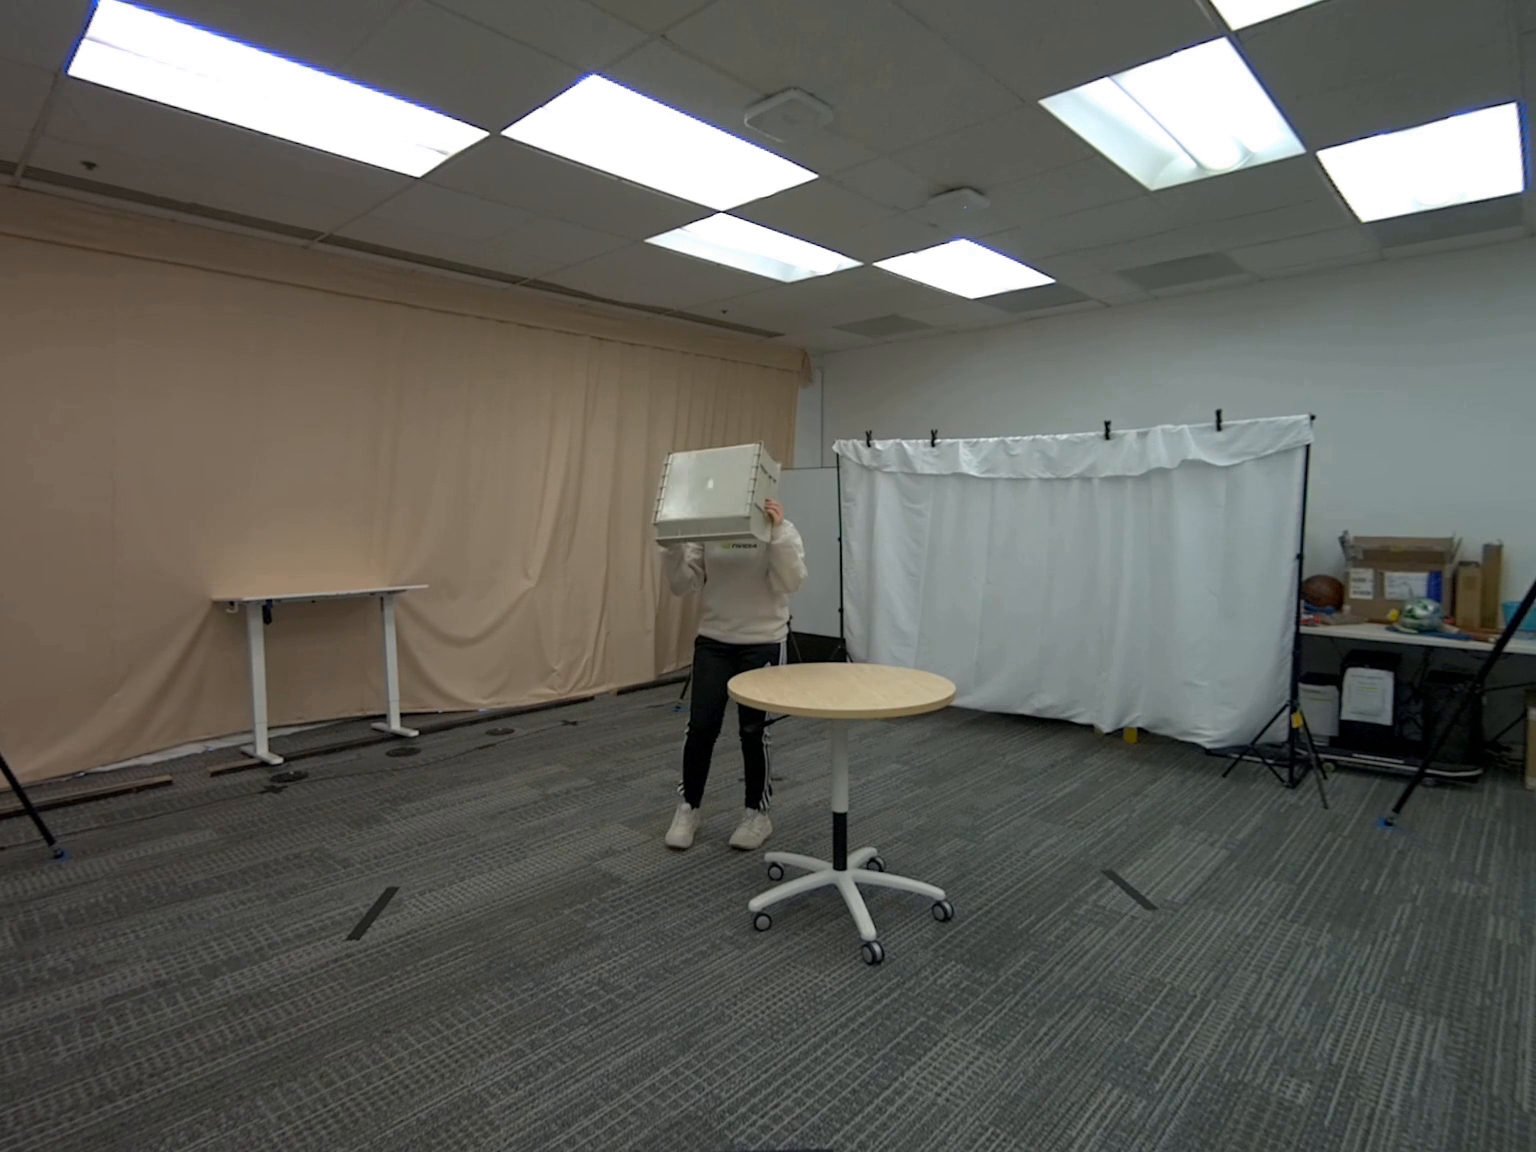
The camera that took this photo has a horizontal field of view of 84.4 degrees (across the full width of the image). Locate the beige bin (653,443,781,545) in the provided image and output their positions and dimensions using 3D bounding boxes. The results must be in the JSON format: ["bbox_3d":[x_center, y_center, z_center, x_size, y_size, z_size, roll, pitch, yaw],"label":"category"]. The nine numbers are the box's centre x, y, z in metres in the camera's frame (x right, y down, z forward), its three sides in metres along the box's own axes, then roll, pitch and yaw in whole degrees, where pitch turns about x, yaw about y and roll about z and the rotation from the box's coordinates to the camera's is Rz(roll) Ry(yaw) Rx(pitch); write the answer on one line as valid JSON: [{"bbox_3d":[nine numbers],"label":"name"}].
[{"bbox_3d":[-0.197,-0.290,3.195,0.433,0.381,0.182,-3,-27,26],"label":"beige bin"}]
